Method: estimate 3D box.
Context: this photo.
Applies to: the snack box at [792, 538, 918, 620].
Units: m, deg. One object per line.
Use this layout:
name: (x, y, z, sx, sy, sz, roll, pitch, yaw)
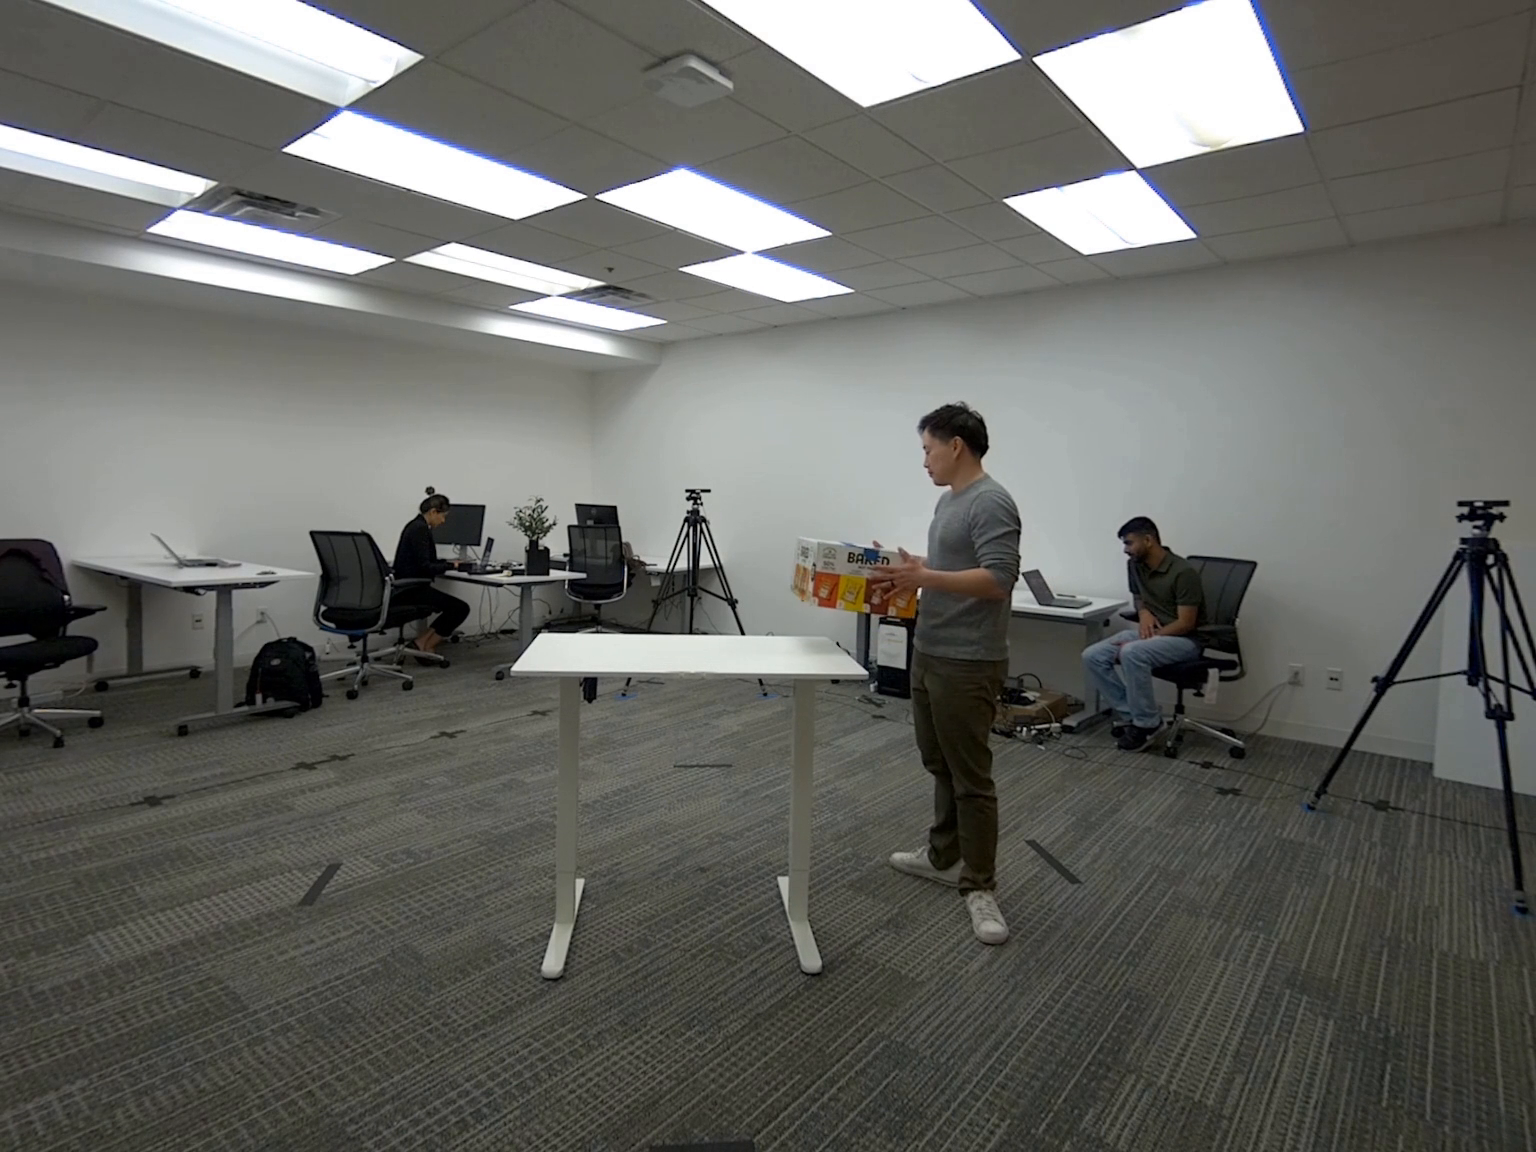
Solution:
snack box: (0.278, -0.001, 2.875, 0.338, 0.205, 0.409, 8, 4, -7)
